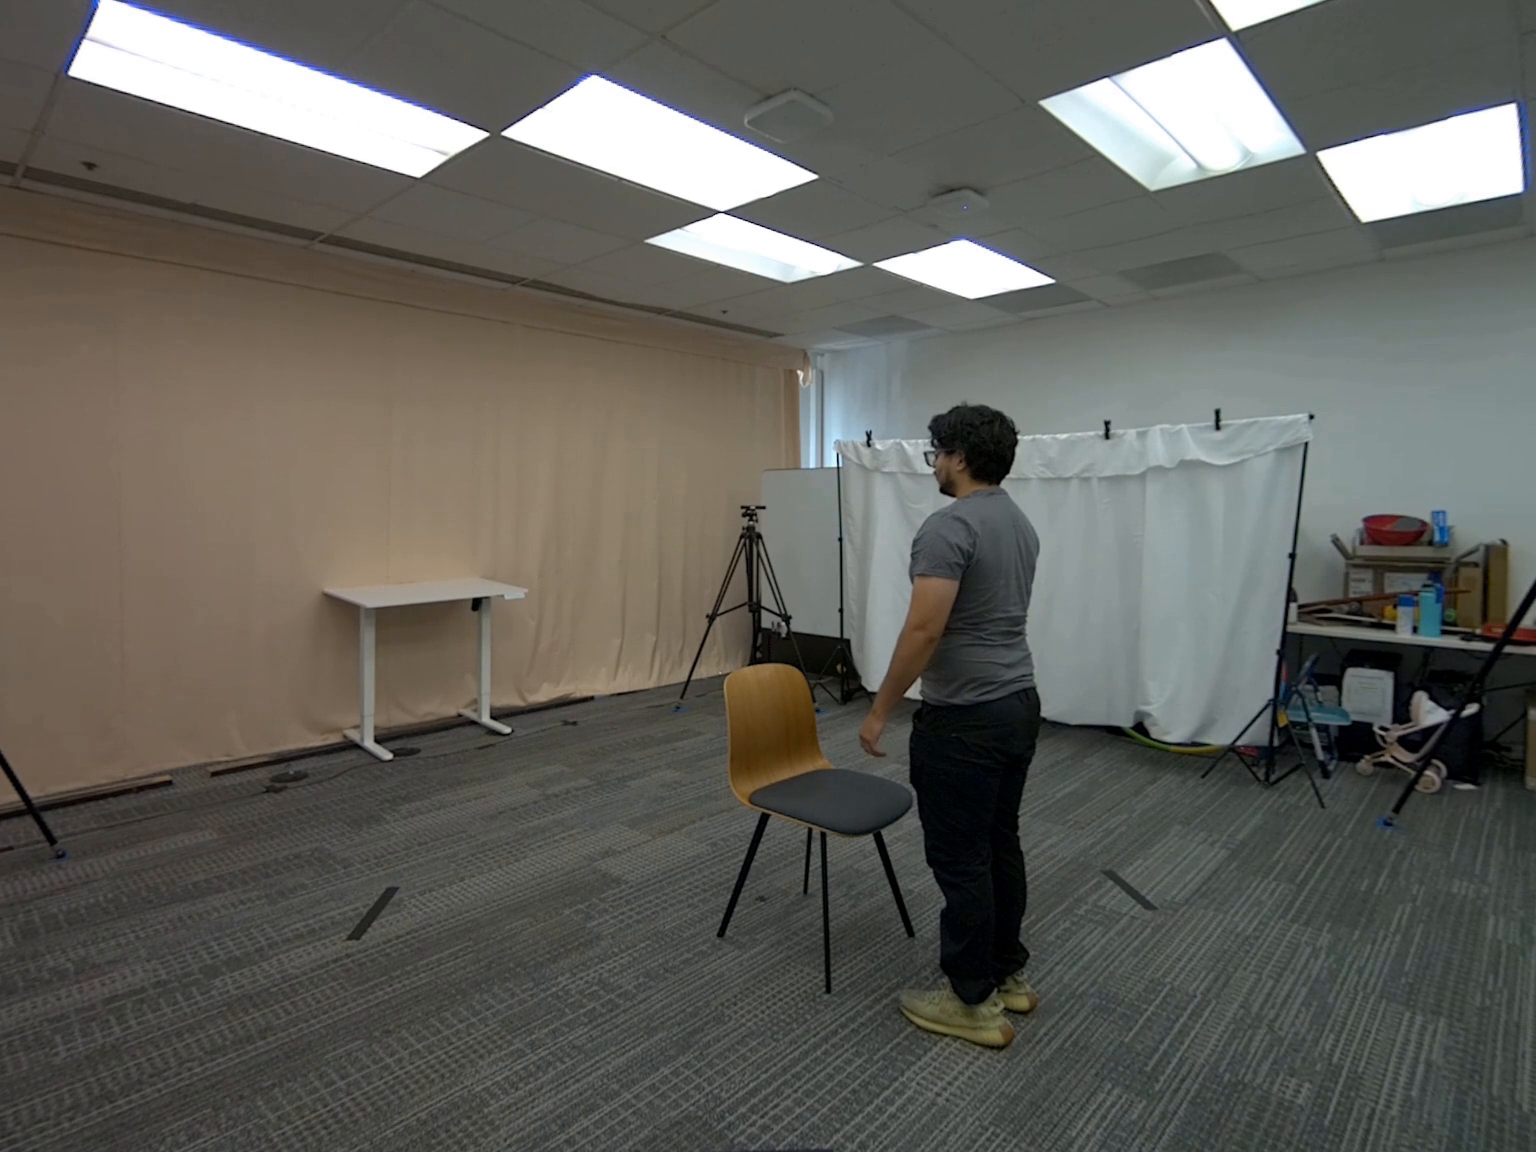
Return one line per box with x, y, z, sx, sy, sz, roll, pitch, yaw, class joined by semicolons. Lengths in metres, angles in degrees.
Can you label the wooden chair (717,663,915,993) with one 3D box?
0.163;0.743;2.683;0.539;0.877;0.463;-3;1;44;wooden chair
